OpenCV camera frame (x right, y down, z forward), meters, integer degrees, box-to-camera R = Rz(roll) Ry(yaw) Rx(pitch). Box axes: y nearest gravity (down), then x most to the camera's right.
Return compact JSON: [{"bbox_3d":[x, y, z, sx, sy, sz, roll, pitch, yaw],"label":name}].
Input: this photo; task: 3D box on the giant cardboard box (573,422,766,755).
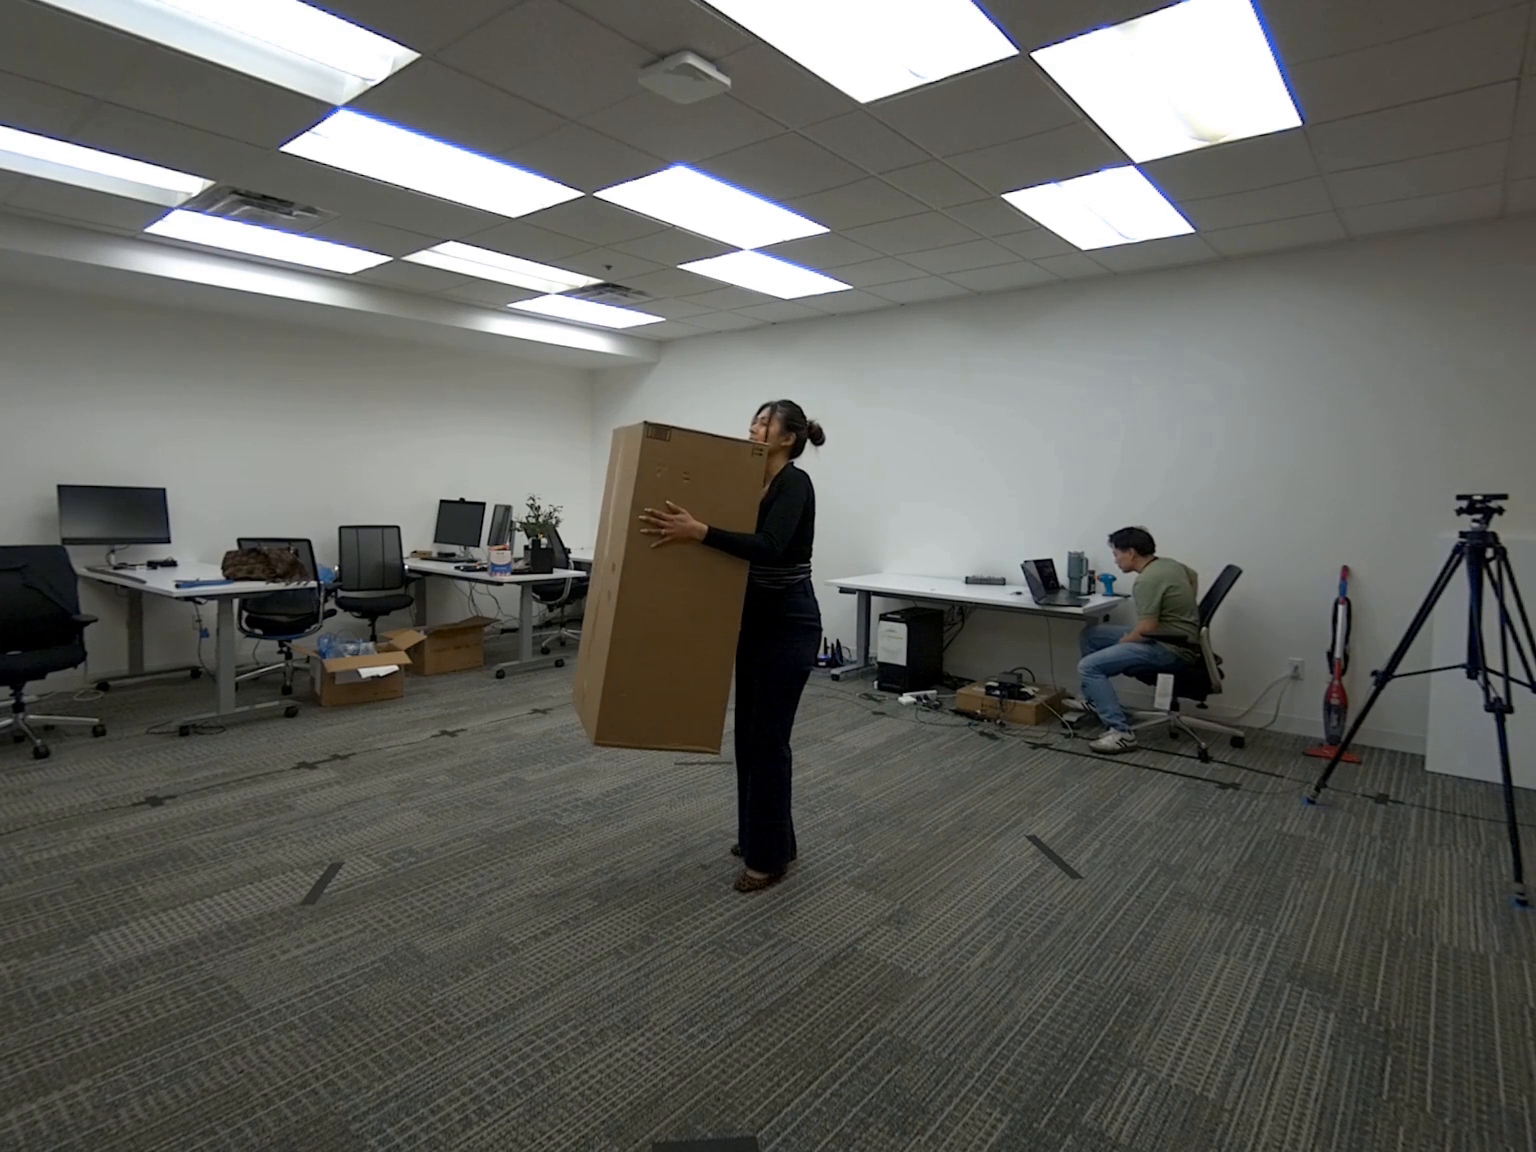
[{"bbox_3d":[-0.372,0.019,2.964,0.417,1.024,0.591,9,2,-20],"label":"giant cardboard box"}]
